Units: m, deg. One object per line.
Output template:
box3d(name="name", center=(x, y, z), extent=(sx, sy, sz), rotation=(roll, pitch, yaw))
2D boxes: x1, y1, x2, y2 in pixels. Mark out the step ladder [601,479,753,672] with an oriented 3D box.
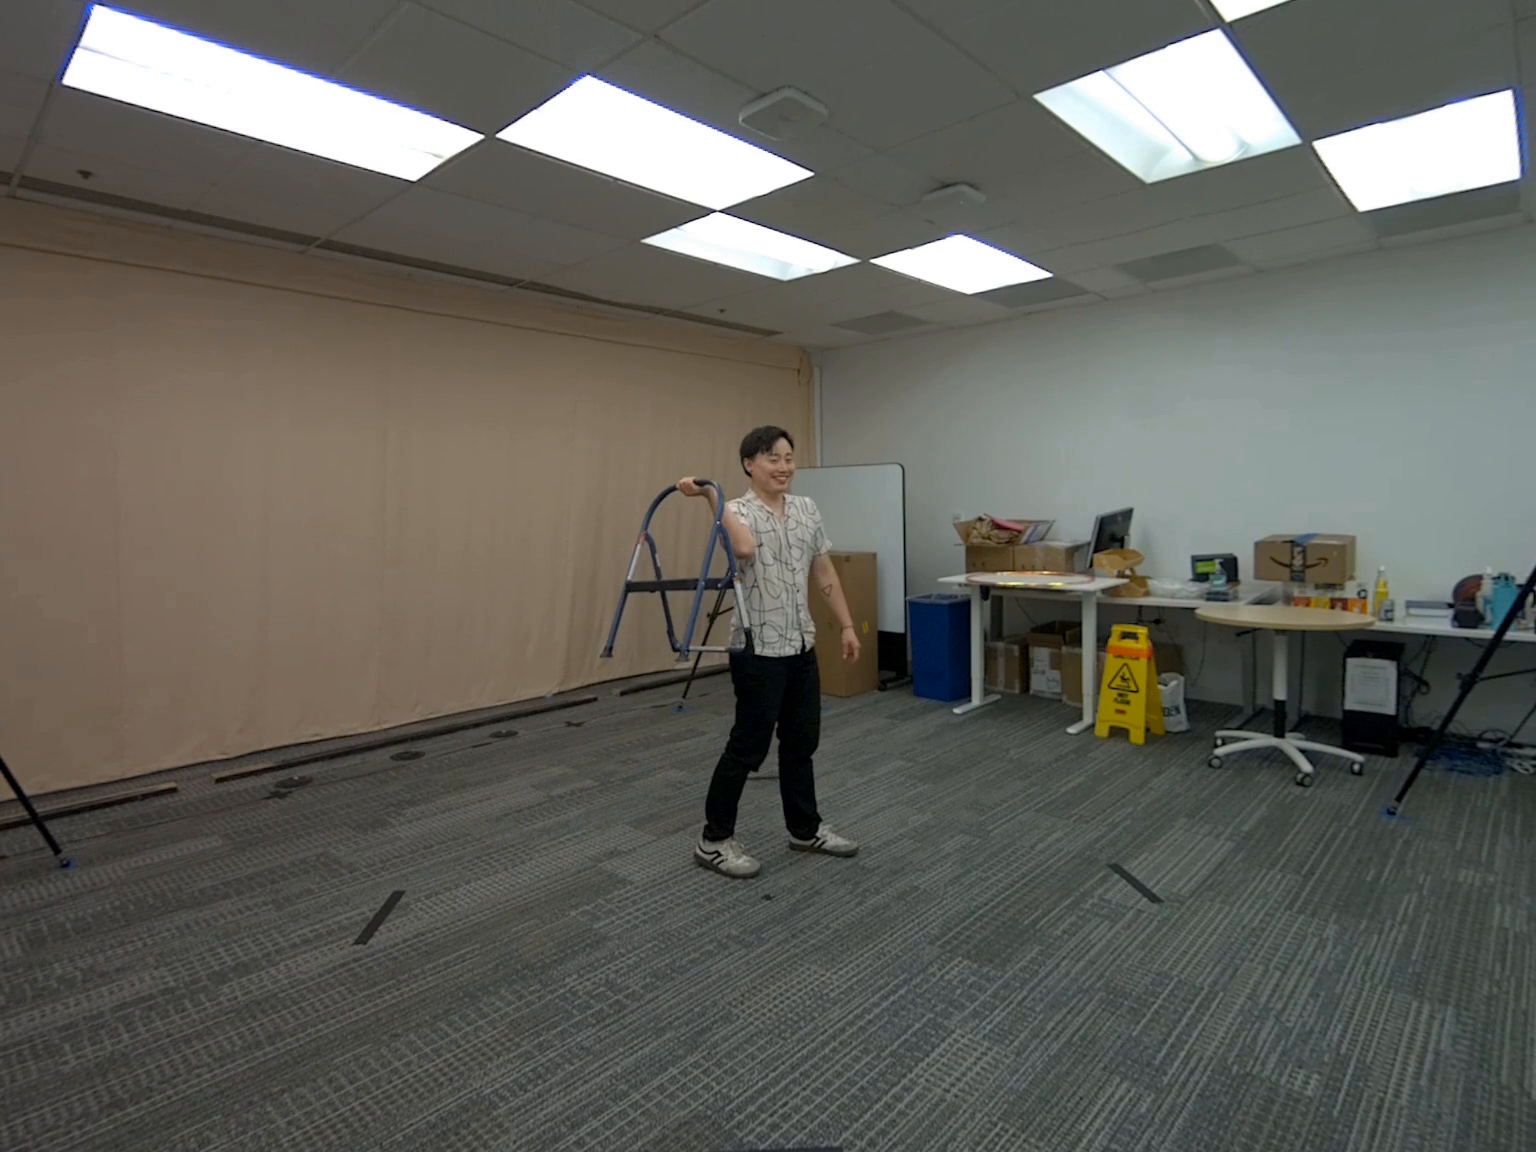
box3d(name="step ladder", center=(-0.304, -0.028, 2.896), extent=(0.444, 0.607, 0.338), rotation=(-4, -4, 43))
